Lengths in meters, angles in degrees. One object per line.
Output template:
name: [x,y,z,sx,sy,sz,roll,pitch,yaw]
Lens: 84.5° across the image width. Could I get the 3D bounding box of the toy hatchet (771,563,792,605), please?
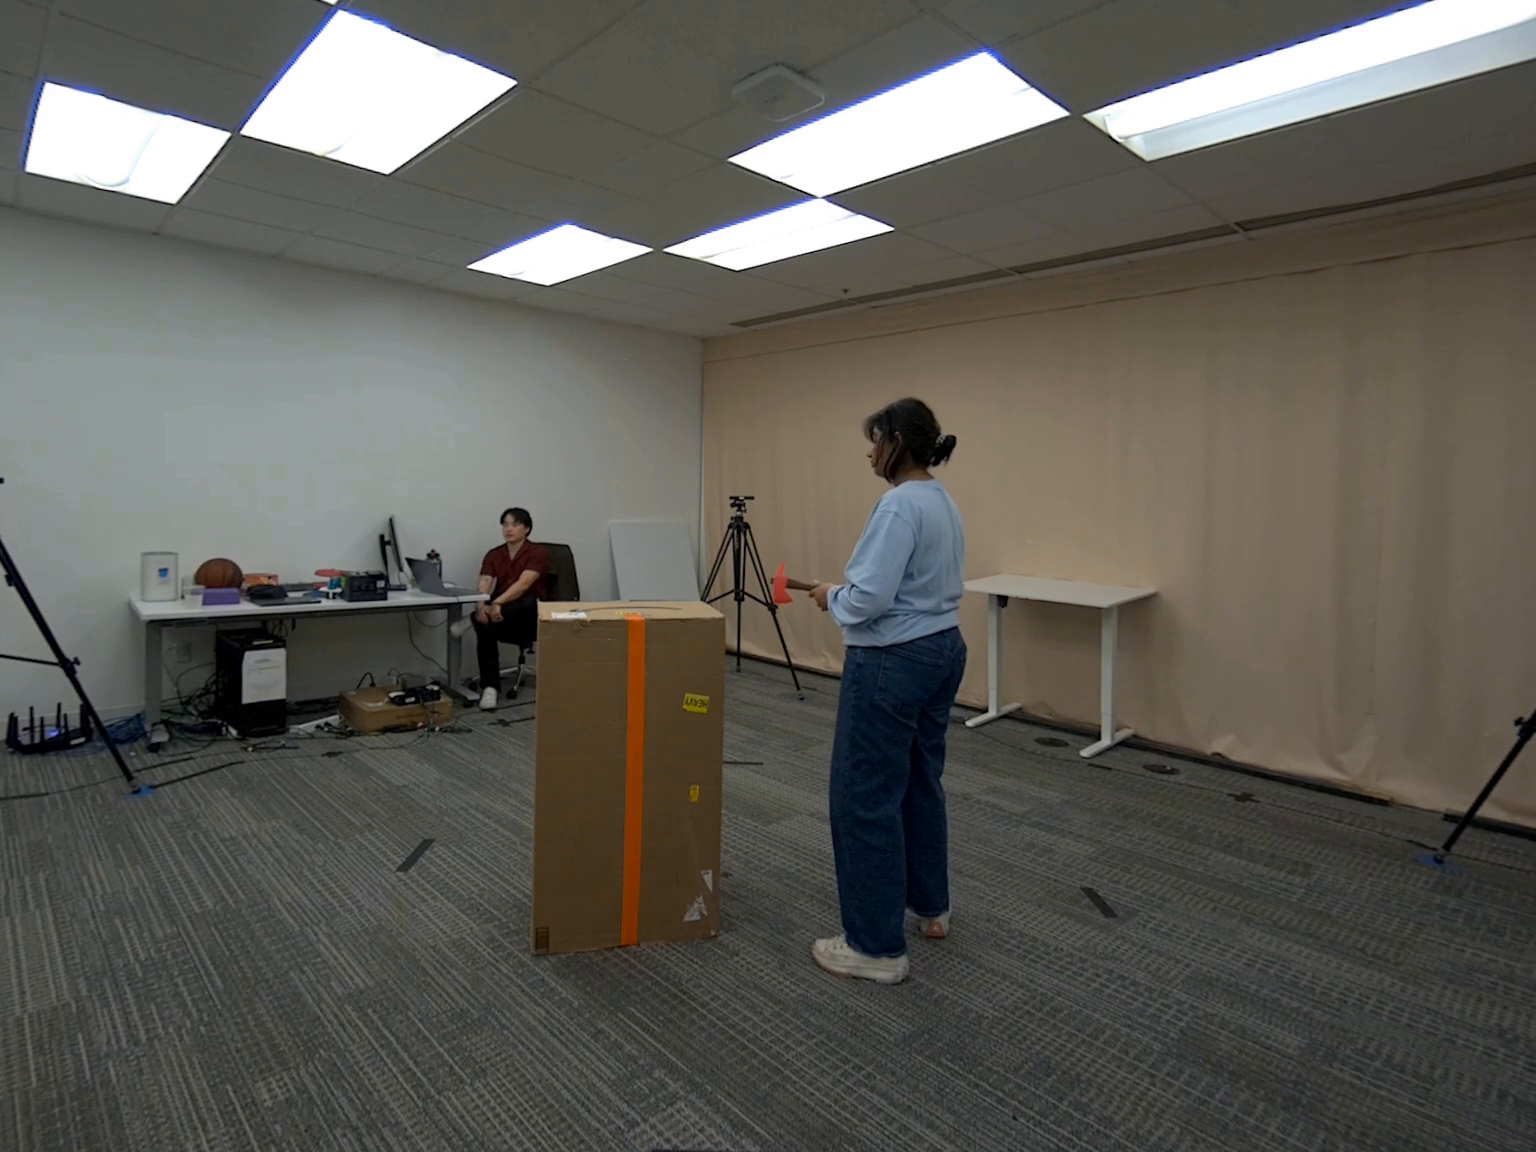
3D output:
toy hatchet: [0.169,0.076,2.701,0.268,0.132,0.029,21,-22,-8]
